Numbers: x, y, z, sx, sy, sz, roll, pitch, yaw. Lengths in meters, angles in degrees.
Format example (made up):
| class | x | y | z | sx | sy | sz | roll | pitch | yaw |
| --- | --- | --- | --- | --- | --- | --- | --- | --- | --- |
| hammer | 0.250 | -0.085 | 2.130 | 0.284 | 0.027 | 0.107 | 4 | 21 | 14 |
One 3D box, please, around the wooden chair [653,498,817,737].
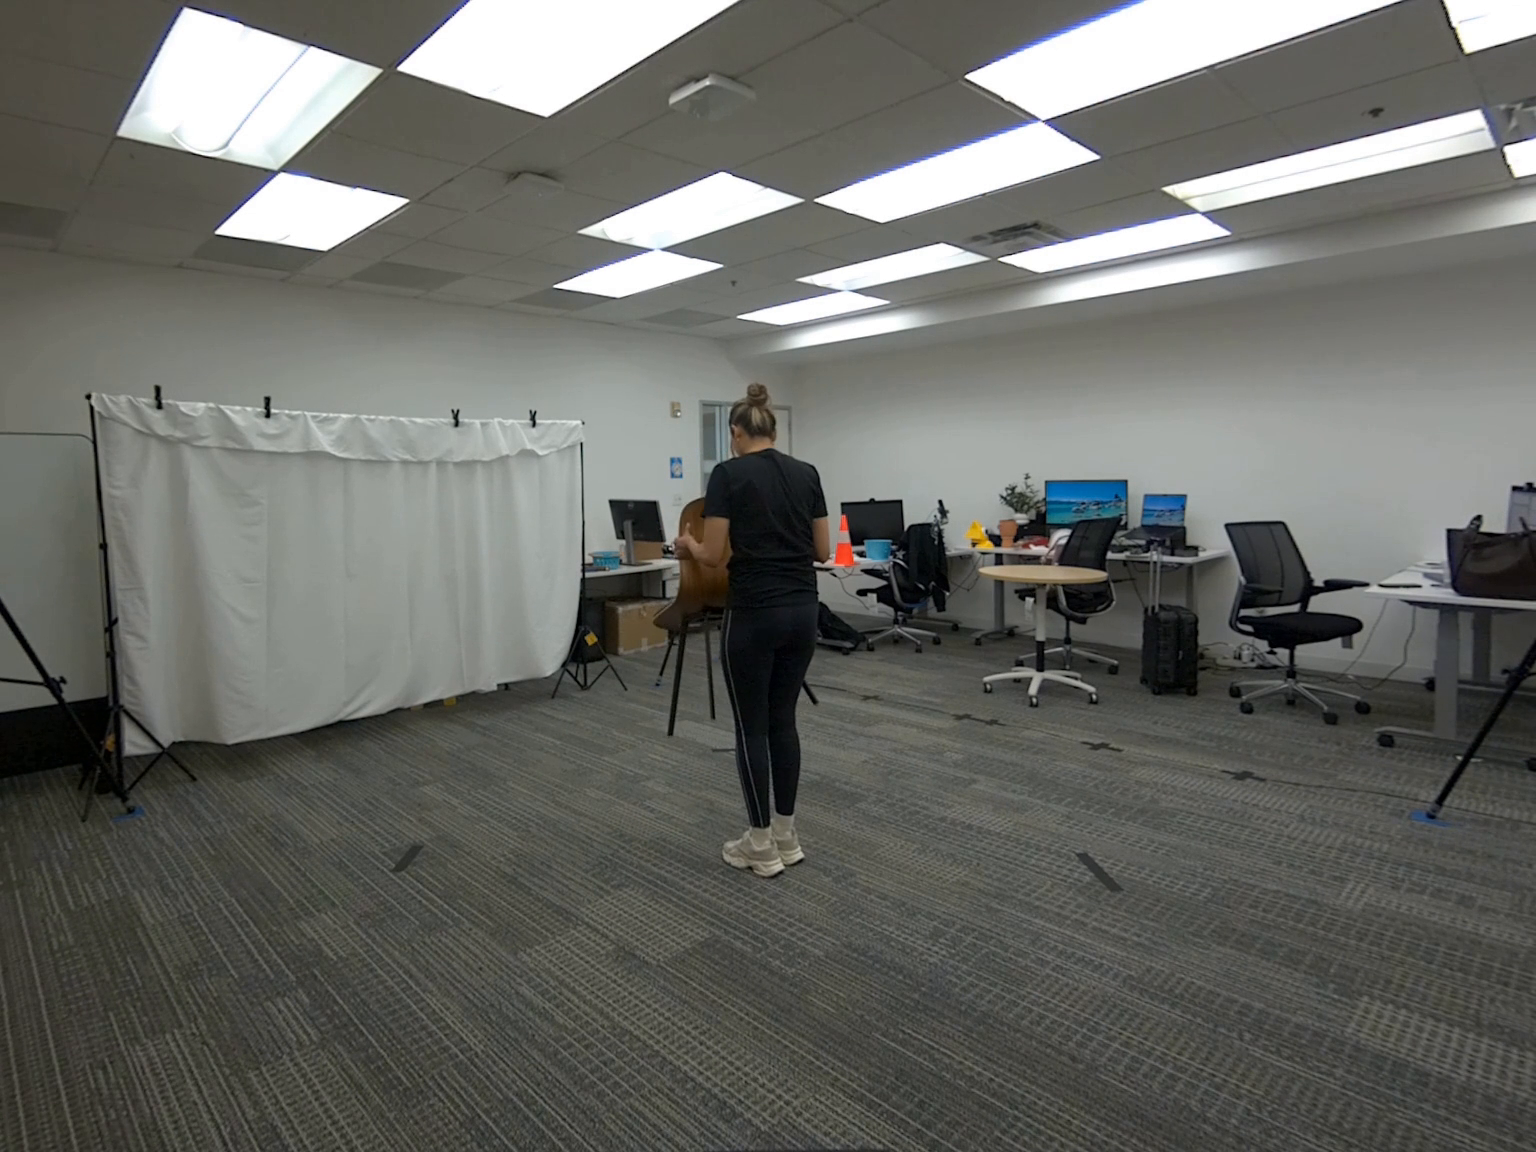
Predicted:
| class | x | y | z | sx | sy | sz | roll | pitch | yaw |
| --- | --- | --- | --- | --- | --- | --- | --- | --- | --- |
| wooden chair | -0.193 | 0.164 | 3.449 | 0.467 | 0.889 | 0.528 | -4 | -13 | -28 |
